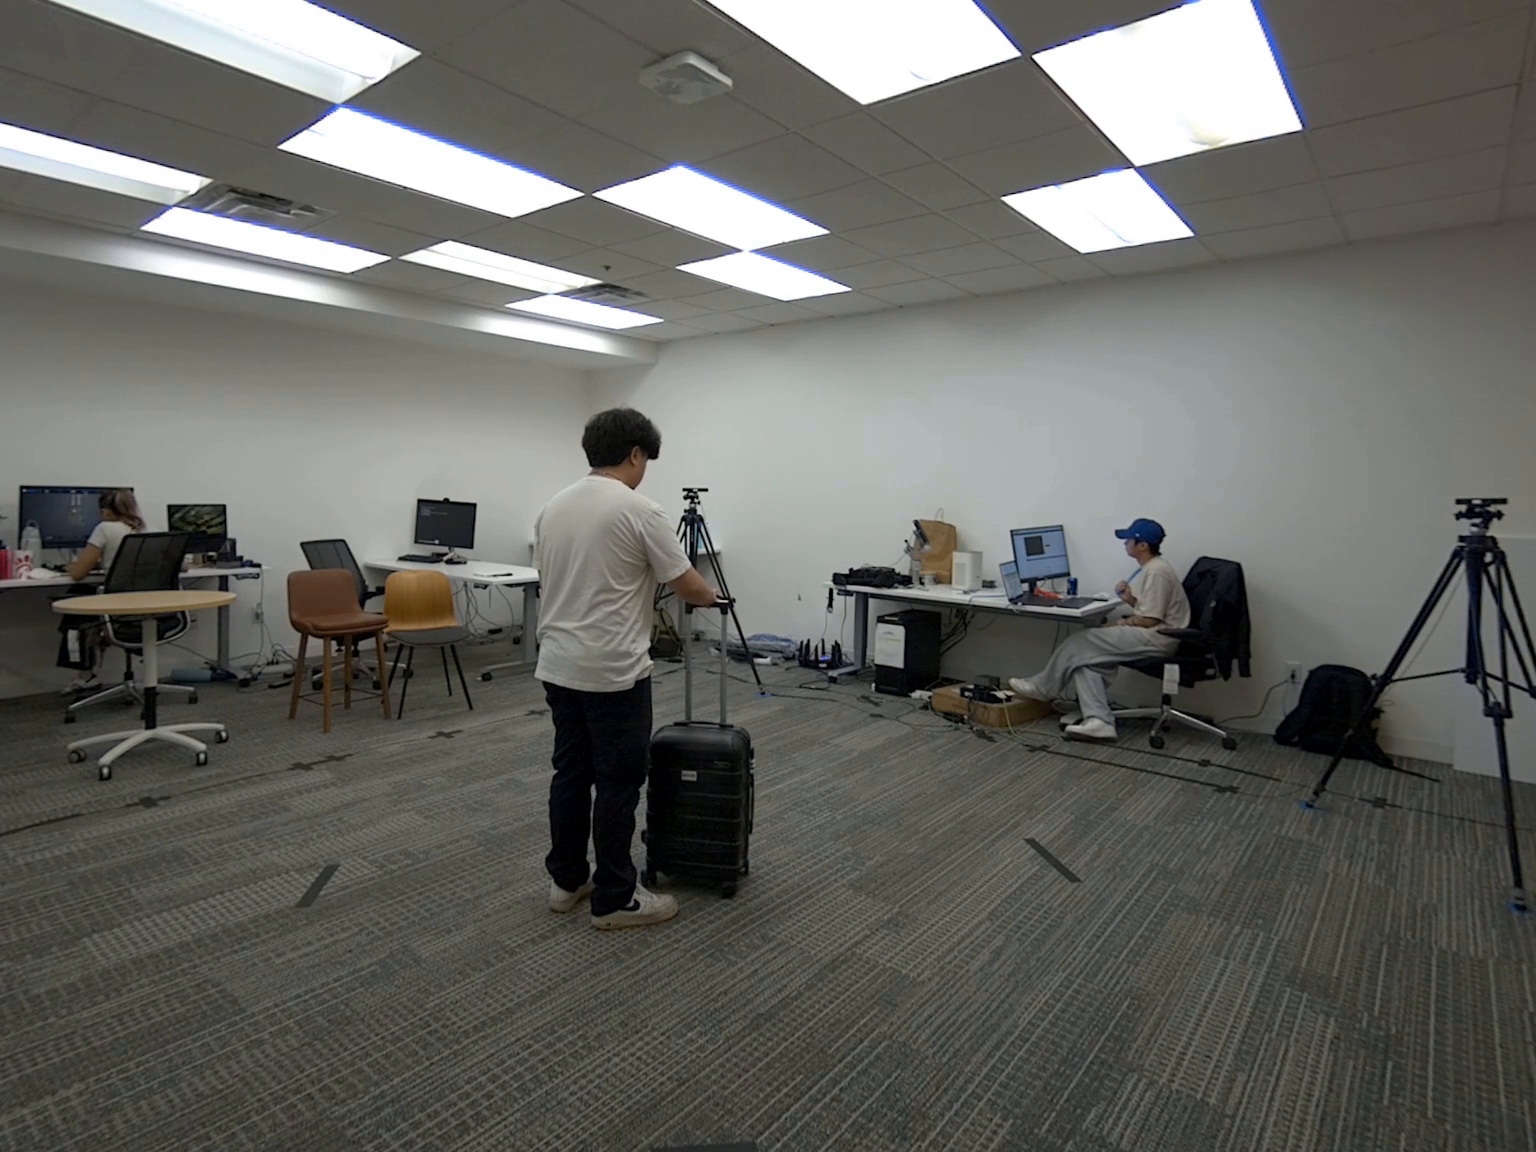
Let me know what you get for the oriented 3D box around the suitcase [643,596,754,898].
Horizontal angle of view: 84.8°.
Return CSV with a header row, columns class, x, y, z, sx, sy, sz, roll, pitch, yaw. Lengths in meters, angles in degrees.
class,x,y,z,sx,sy,sz,roll,pitch,yaw
suitcase,-0.250,0.605,3.011,0.388,0.973,0.255,1,6,10
